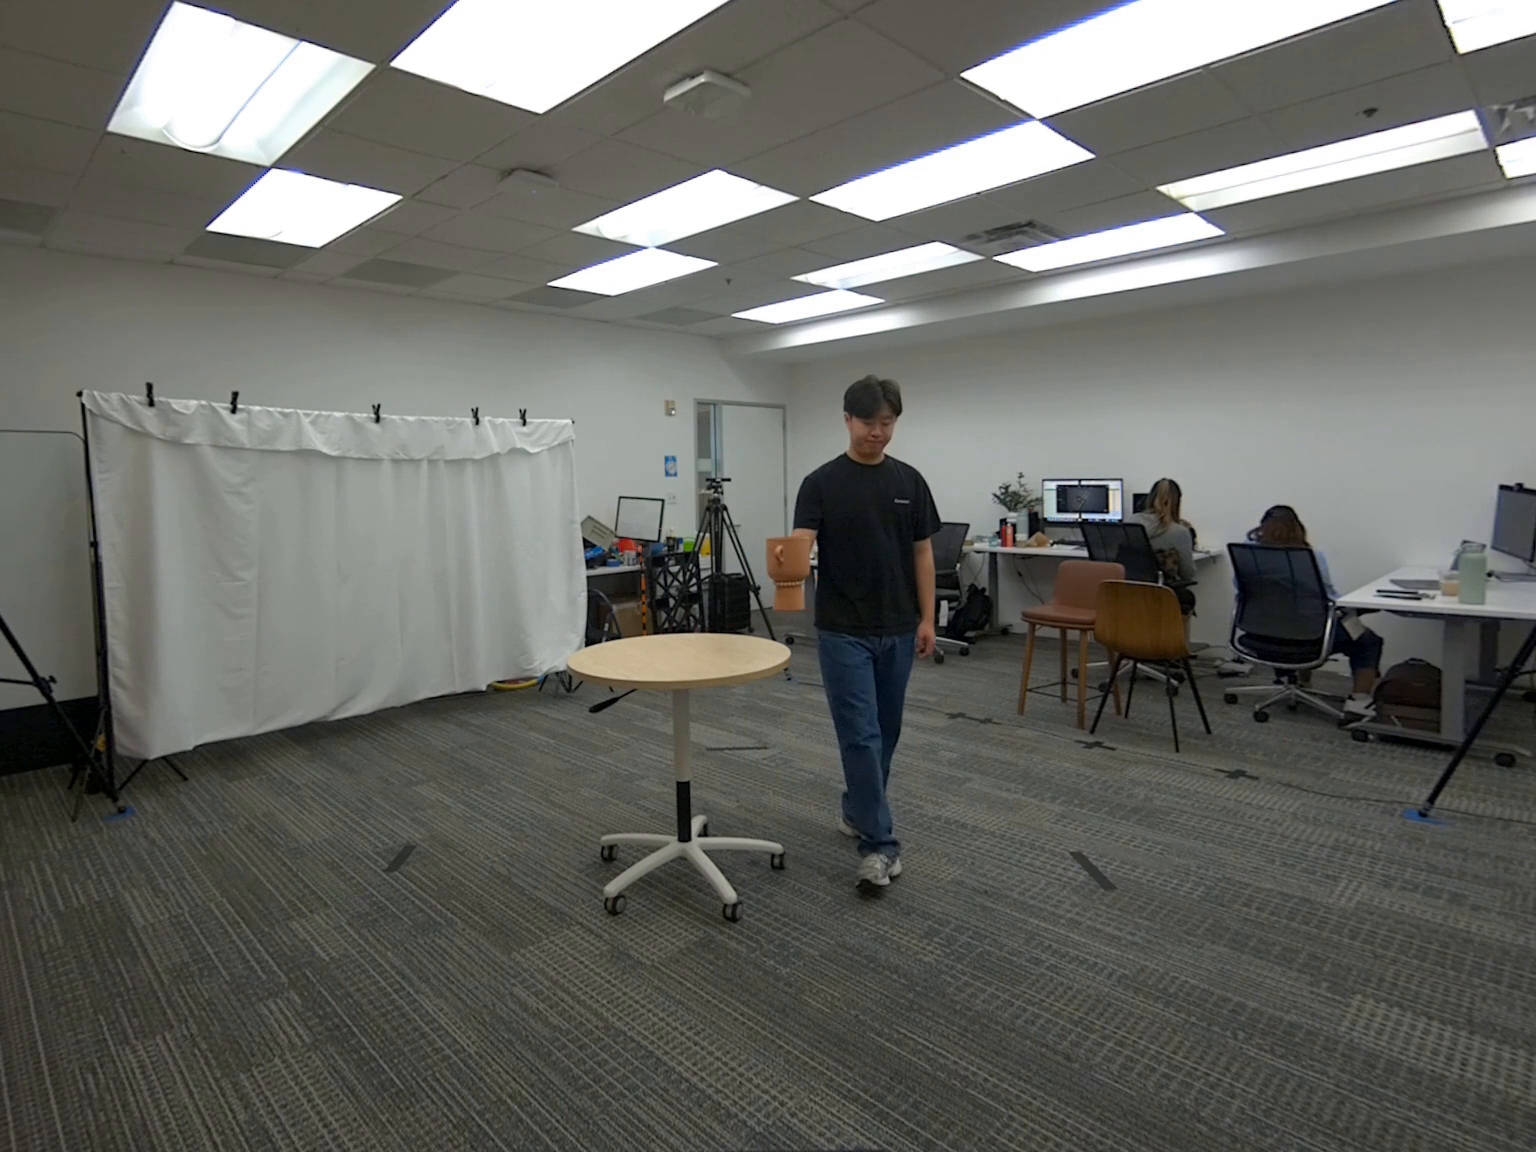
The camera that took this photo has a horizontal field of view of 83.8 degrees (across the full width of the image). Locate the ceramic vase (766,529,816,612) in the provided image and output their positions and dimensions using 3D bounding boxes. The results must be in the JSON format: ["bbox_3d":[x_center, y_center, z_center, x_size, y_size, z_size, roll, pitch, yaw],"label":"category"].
[{"bbox_3d":[0.067,-0.007,2.603,0.155,0.219,0.138,-2,3,-26],"label":"ceramic vase"}]
